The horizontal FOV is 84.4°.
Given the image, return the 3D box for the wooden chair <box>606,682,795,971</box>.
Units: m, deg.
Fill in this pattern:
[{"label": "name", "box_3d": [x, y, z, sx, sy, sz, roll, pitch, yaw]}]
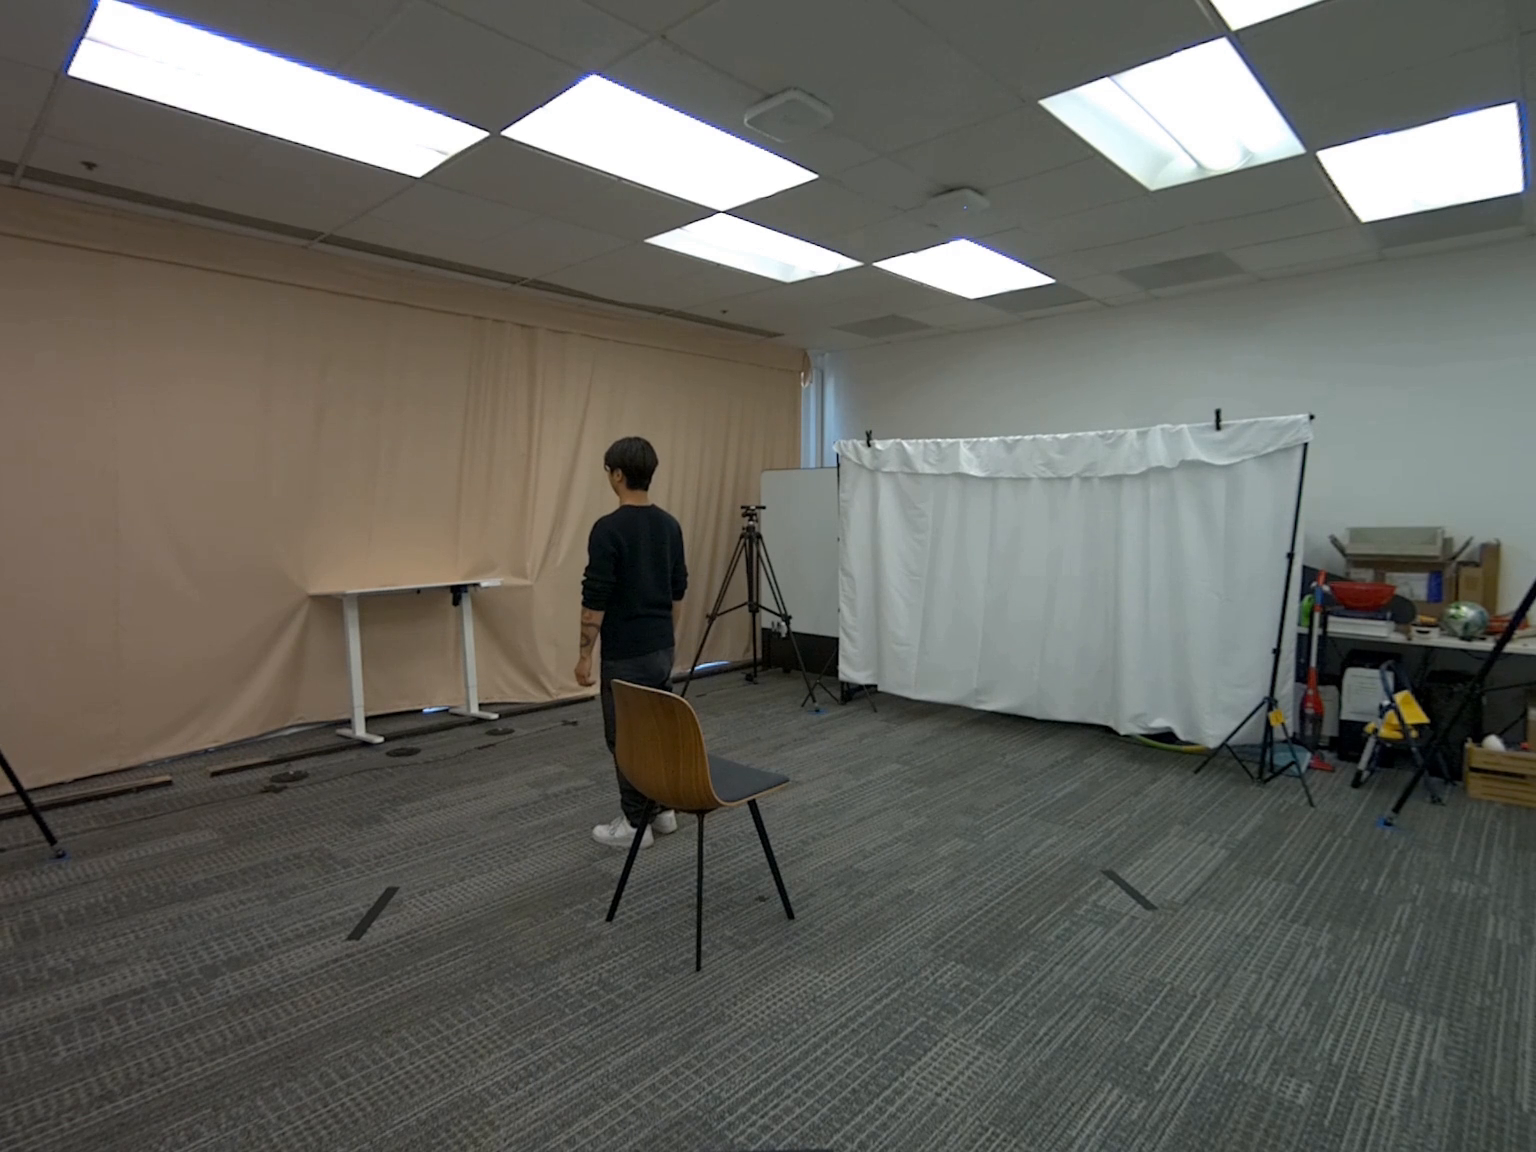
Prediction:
[{"label": "wooden chair", "box_3d": [-0.222, 0.734, 2.810, 0.494, 0.874, 0.508, 2, 8, 43]}]
